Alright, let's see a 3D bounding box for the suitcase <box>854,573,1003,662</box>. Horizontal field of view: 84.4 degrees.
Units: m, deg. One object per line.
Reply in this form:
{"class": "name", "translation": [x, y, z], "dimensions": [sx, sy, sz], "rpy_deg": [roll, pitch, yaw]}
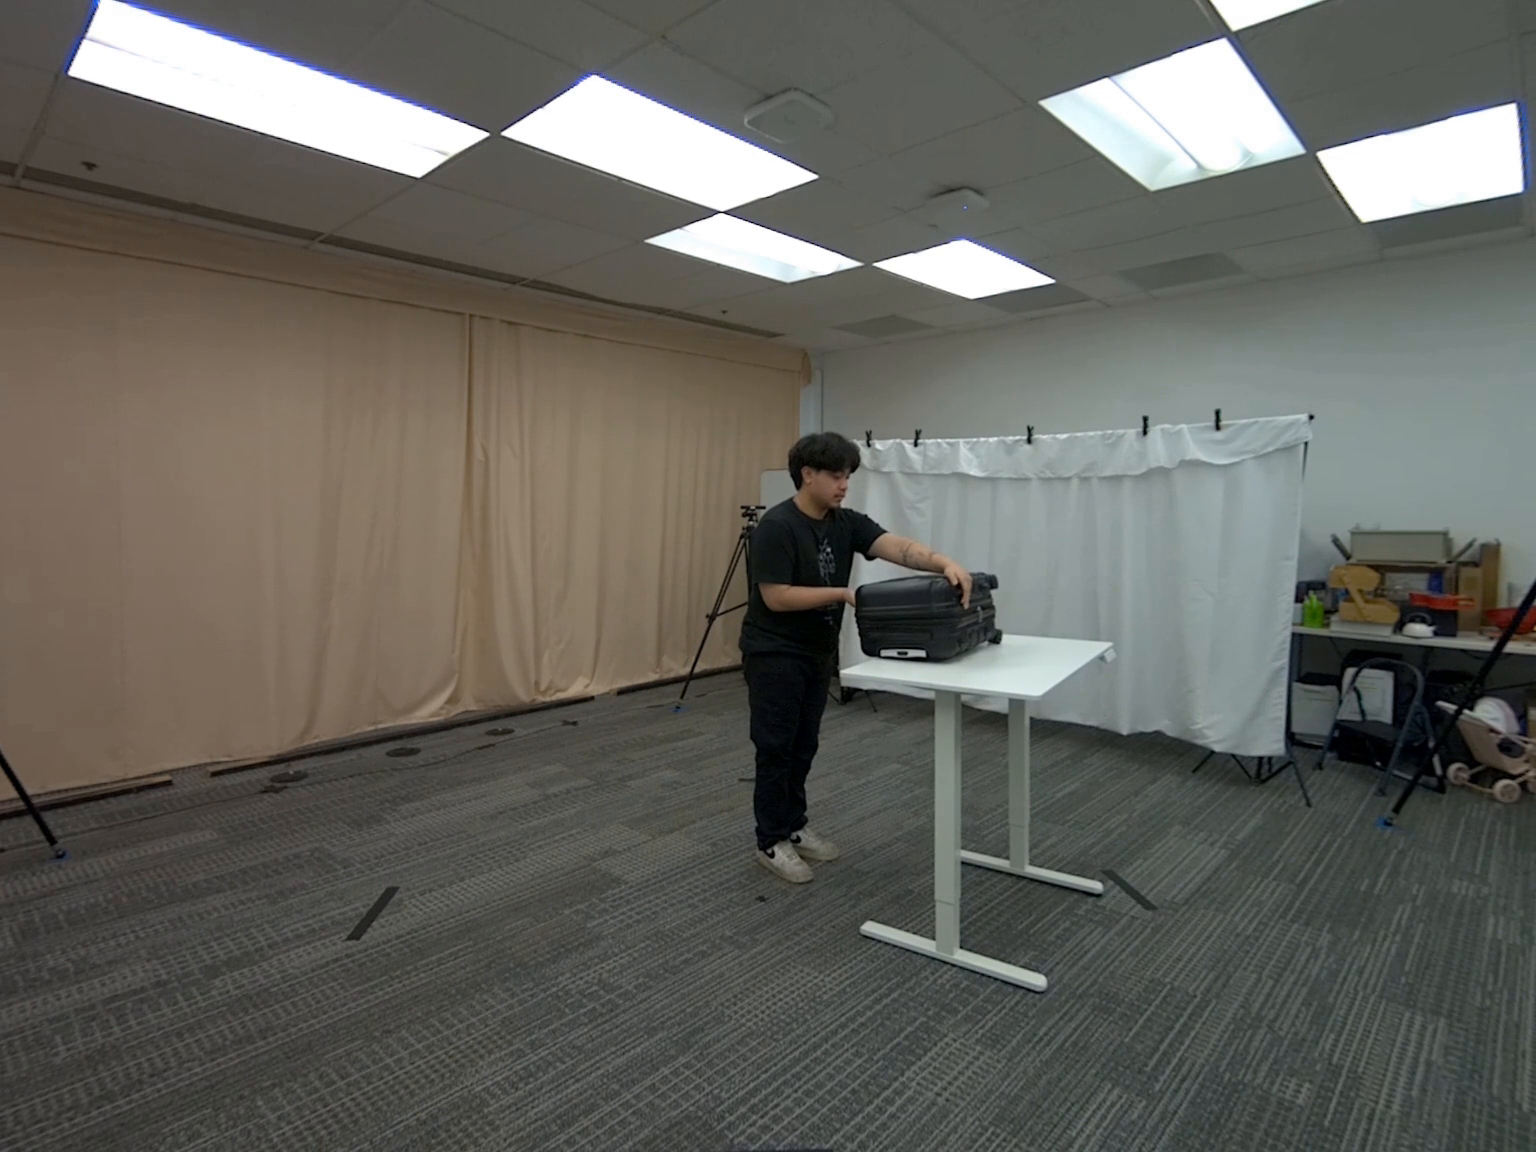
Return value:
{"class": "suitcase", "translation": [0.574, 0.137, 2.964], "dimensions": [0.387, 0.248, 0.533], "rpy_deg": [-2, 3, 35]}
